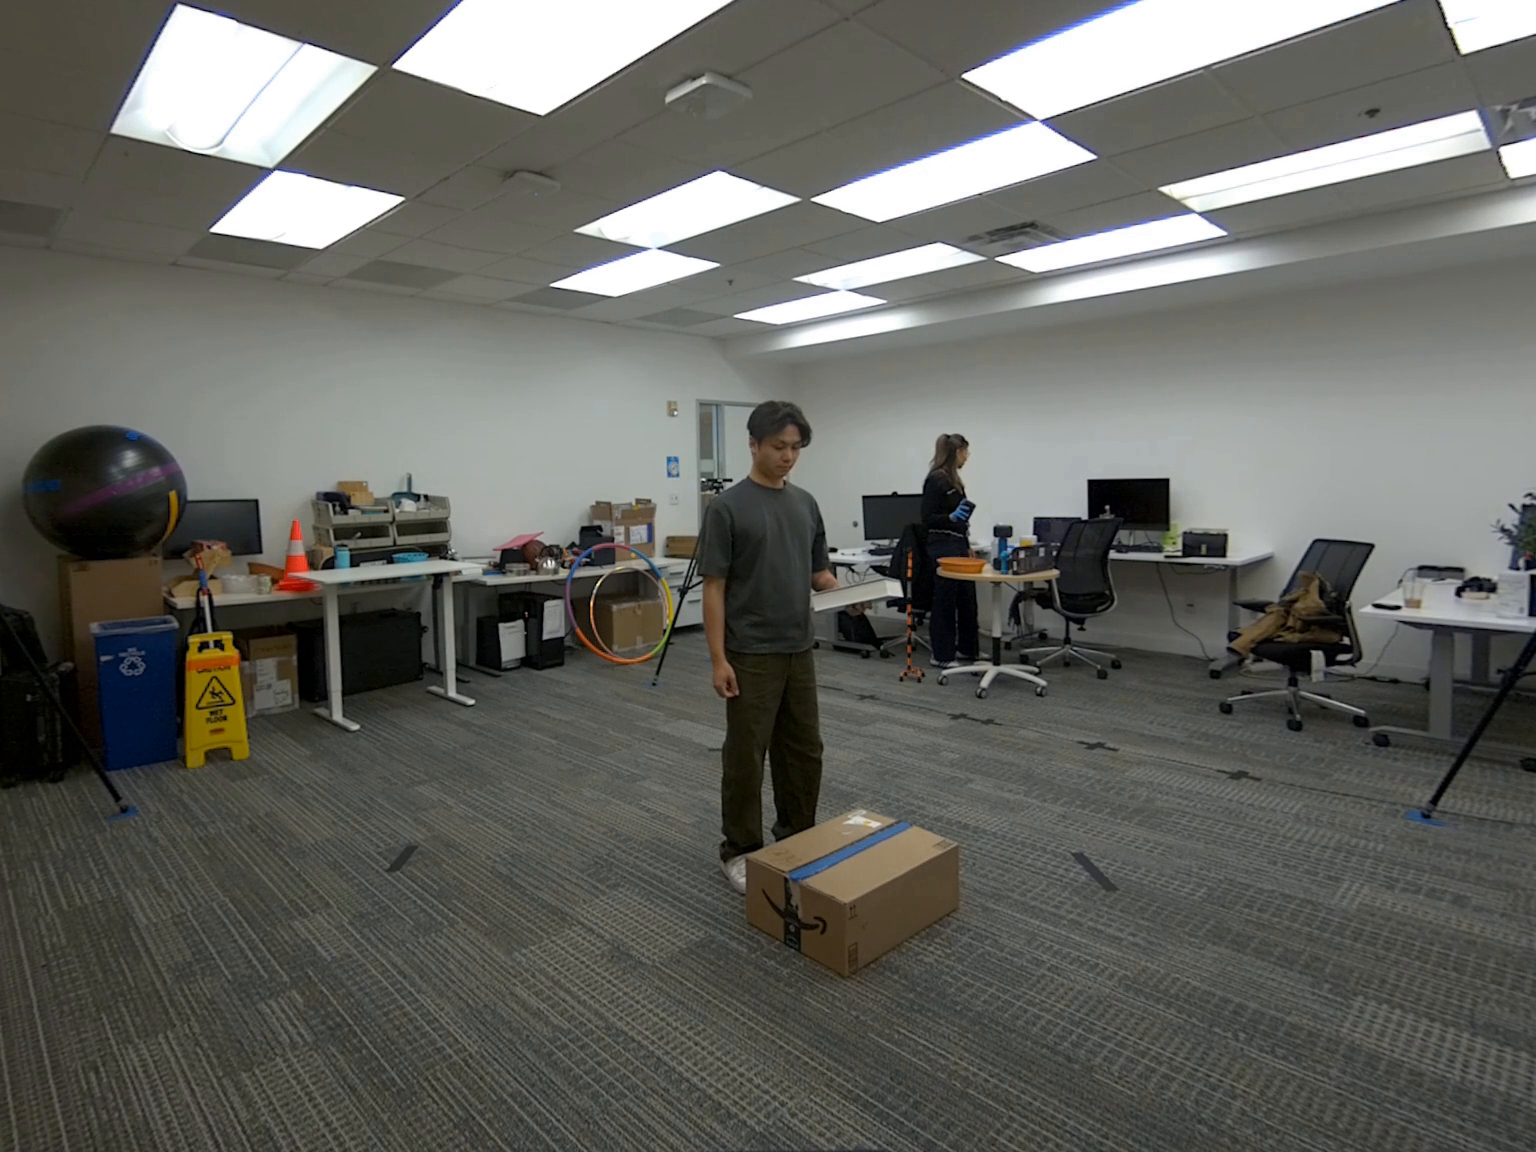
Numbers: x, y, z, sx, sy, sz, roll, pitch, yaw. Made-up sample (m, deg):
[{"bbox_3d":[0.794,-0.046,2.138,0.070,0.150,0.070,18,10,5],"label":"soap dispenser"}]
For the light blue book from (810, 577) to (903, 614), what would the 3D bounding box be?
[{"bbox_3d":[0.300,0.068,2.866,0.265,0.059,0.186,-14,-7,25],"label":"light blue book"}]
